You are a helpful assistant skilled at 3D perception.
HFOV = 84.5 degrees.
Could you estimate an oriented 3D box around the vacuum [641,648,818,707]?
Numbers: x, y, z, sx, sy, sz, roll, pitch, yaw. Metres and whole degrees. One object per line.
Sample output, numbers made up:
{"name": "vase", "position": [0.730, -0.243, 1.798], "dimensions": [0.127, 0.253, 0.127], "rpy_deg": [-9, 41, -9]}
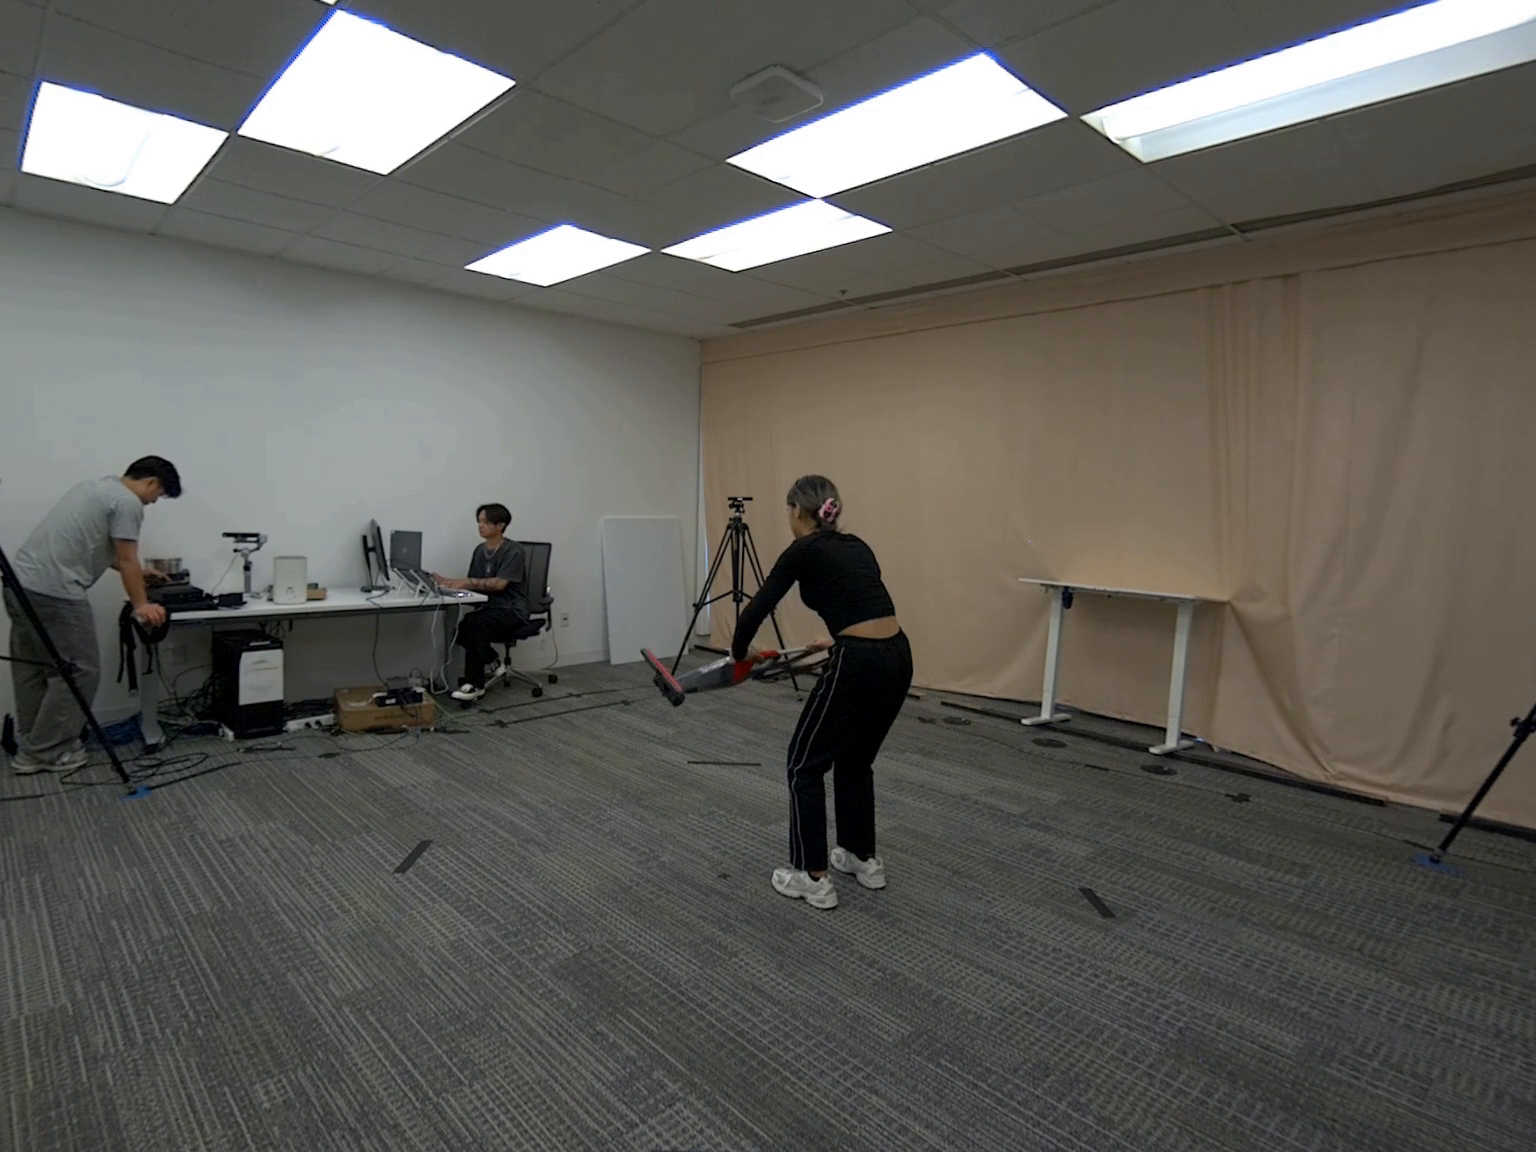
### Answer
{"name": "vacuum", "position": [0.026, 0.340, 3.224], "dimensions": [1.026, 0.142, 0.261], "rpy_deg": [-4, 29, -41]}
